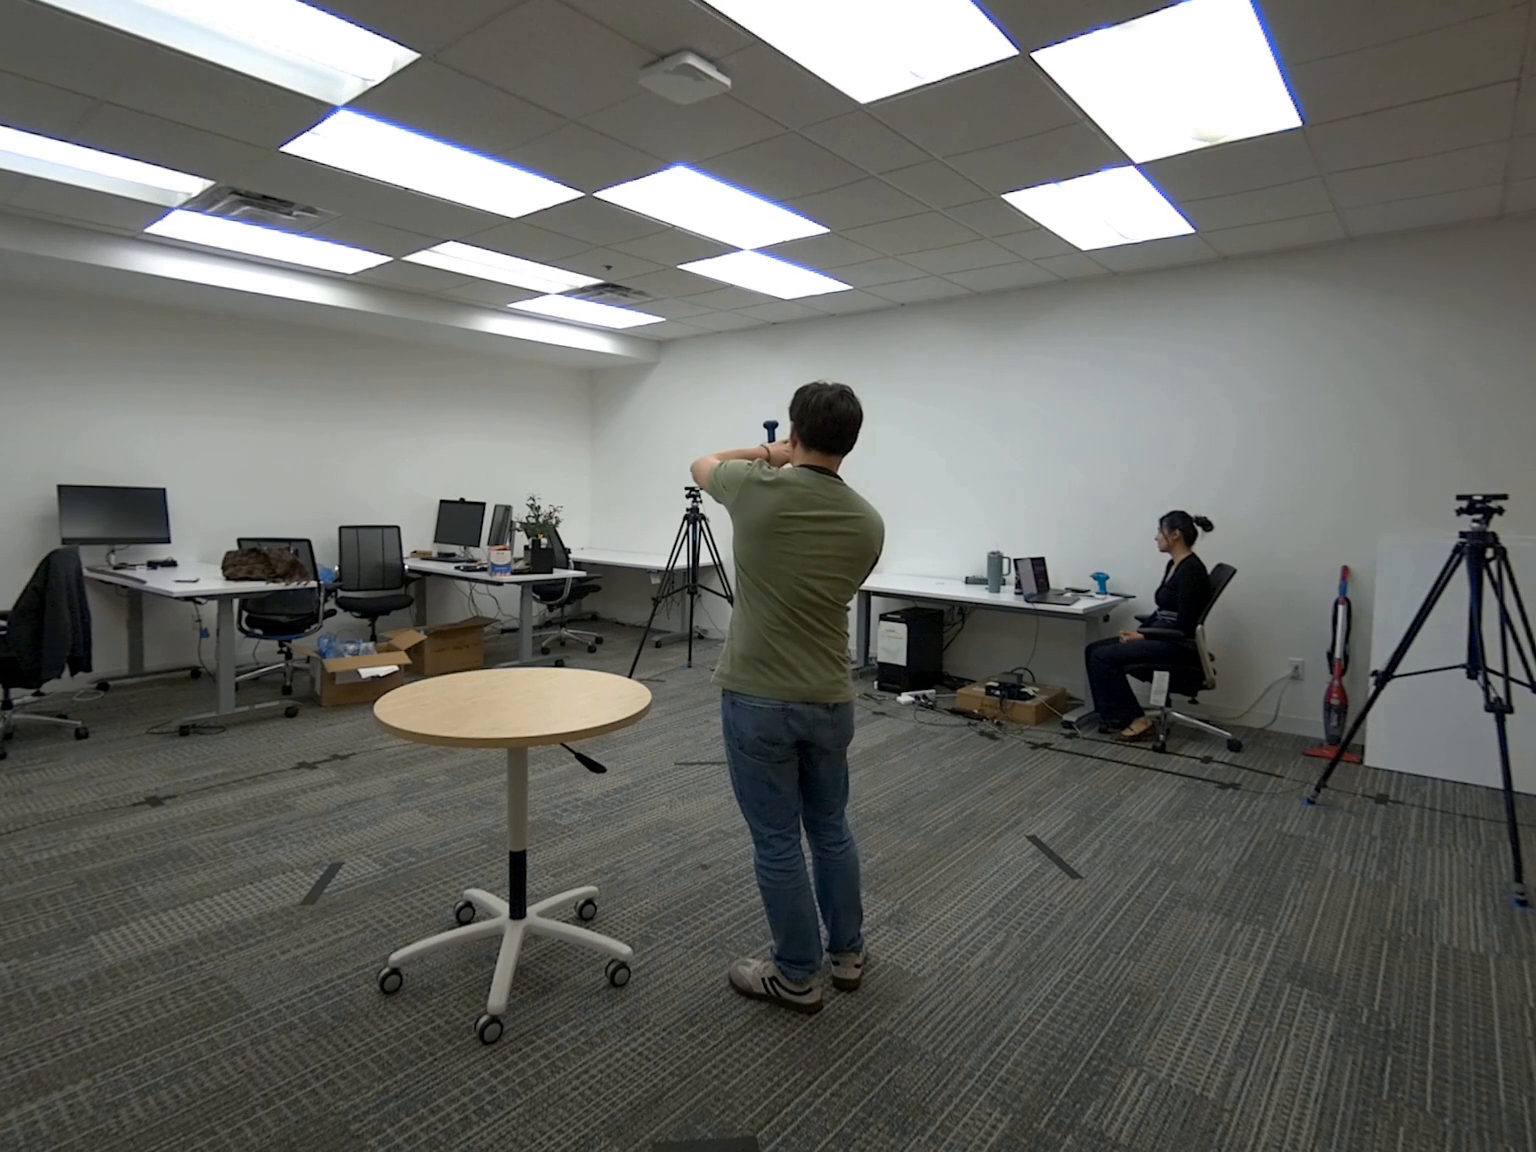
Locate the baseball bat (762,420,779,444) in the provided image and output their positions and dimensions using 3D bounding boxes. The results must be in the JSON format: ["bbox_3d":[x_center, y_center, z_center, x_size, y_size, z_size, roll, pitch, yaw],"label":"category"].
[{"bbox_3d":[0.016,-0.227,2.722,0.089,0.542,0.089,-2,2,-2],"label":"baseball bat"}]
